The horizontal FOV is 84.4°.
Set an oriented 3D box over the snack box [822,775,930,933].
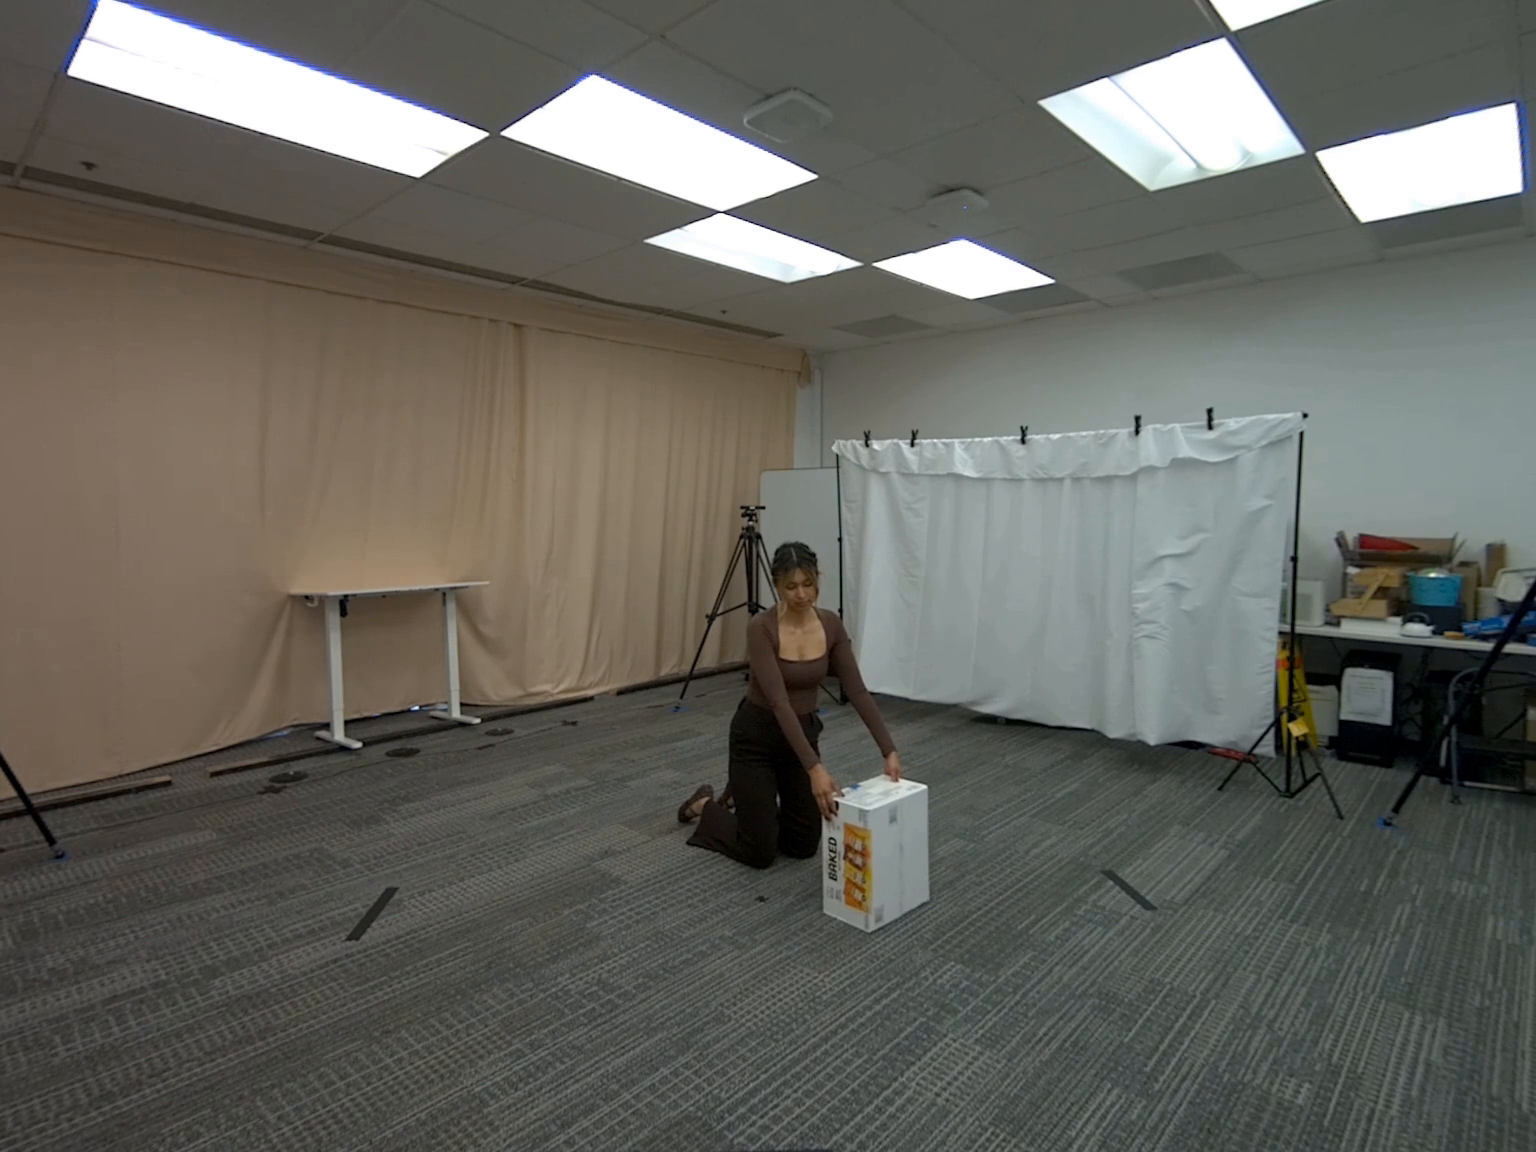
[{"bbox_3d":[0.380,0.942,2.919,0.330,0.404,0.212,-4,3,-44],"label":"snack box"}]
